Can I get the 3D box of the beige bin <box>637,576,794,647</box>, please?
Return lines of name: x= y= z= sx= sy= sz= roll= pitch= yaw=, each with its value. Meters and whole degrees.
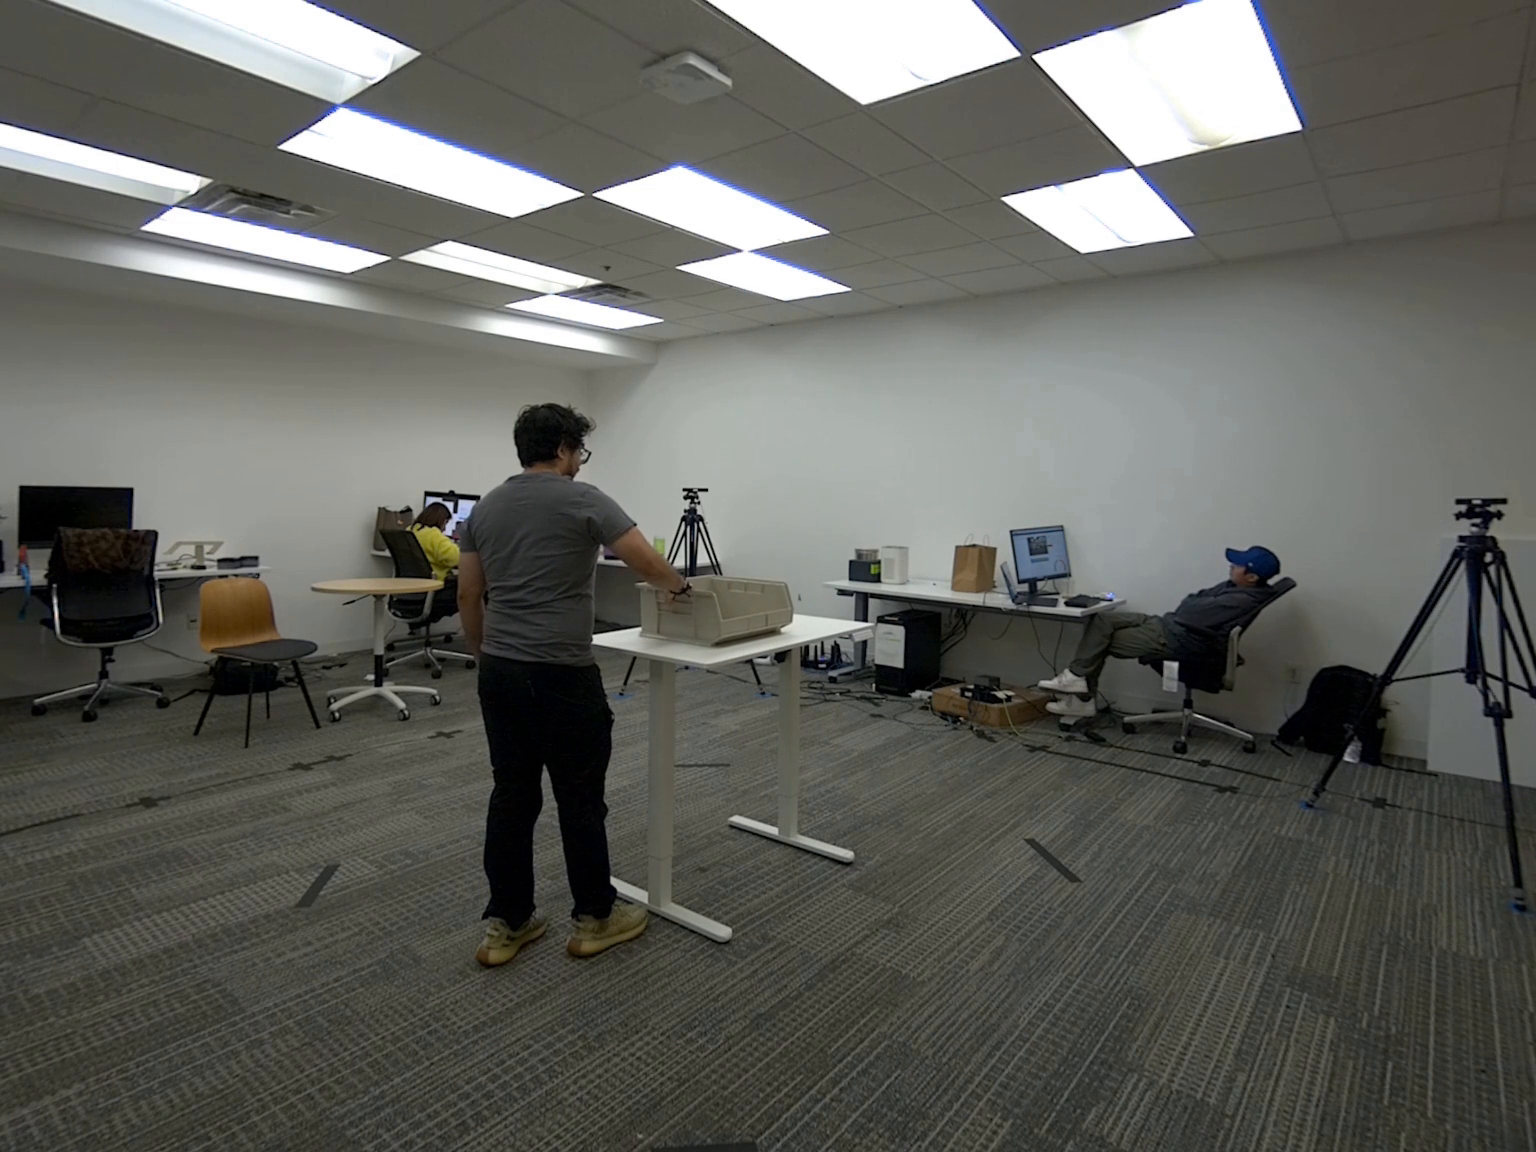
beige bin: x=-0.188 y=0.112 z=2.962 sx=0.389 sy=0.188 sz=0.410 roll=2 pitch=6 yaw=37
